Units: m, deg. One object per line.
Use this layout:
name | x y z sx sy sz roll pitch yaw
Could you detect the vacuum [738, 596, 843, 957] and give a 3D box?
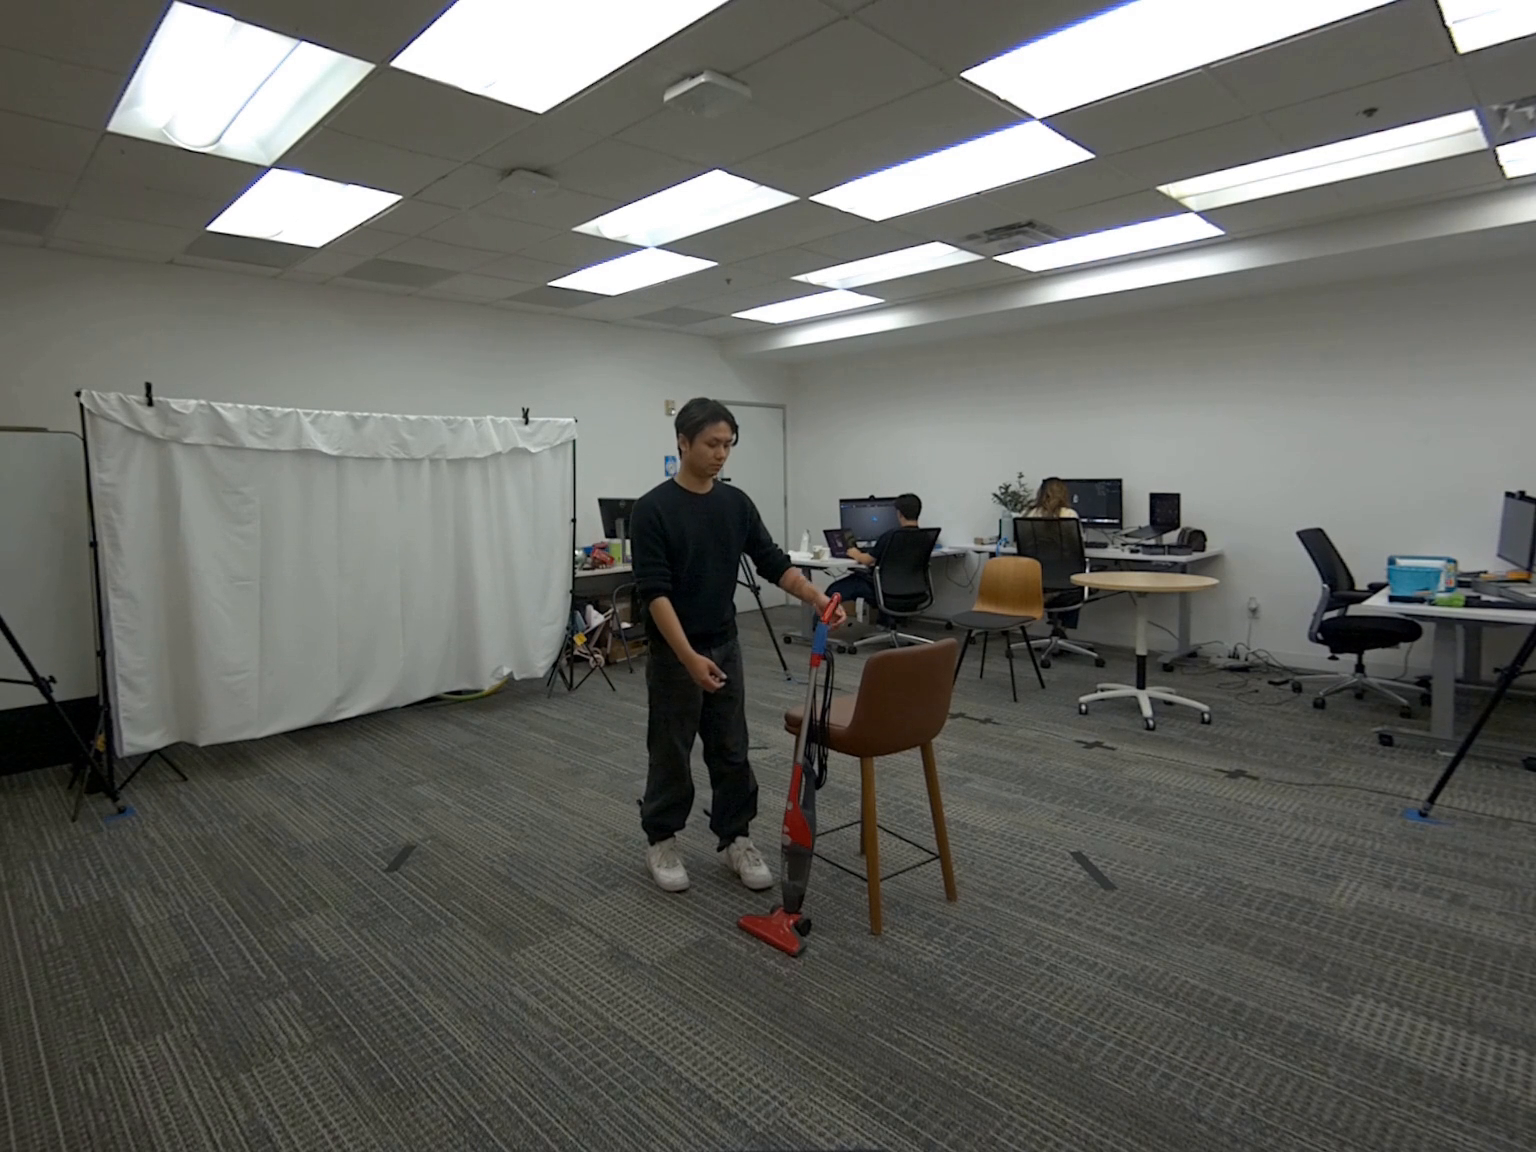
vacuum | 0.146 0.580 2.671 0.260 1.055 0.139 2 -10 45
